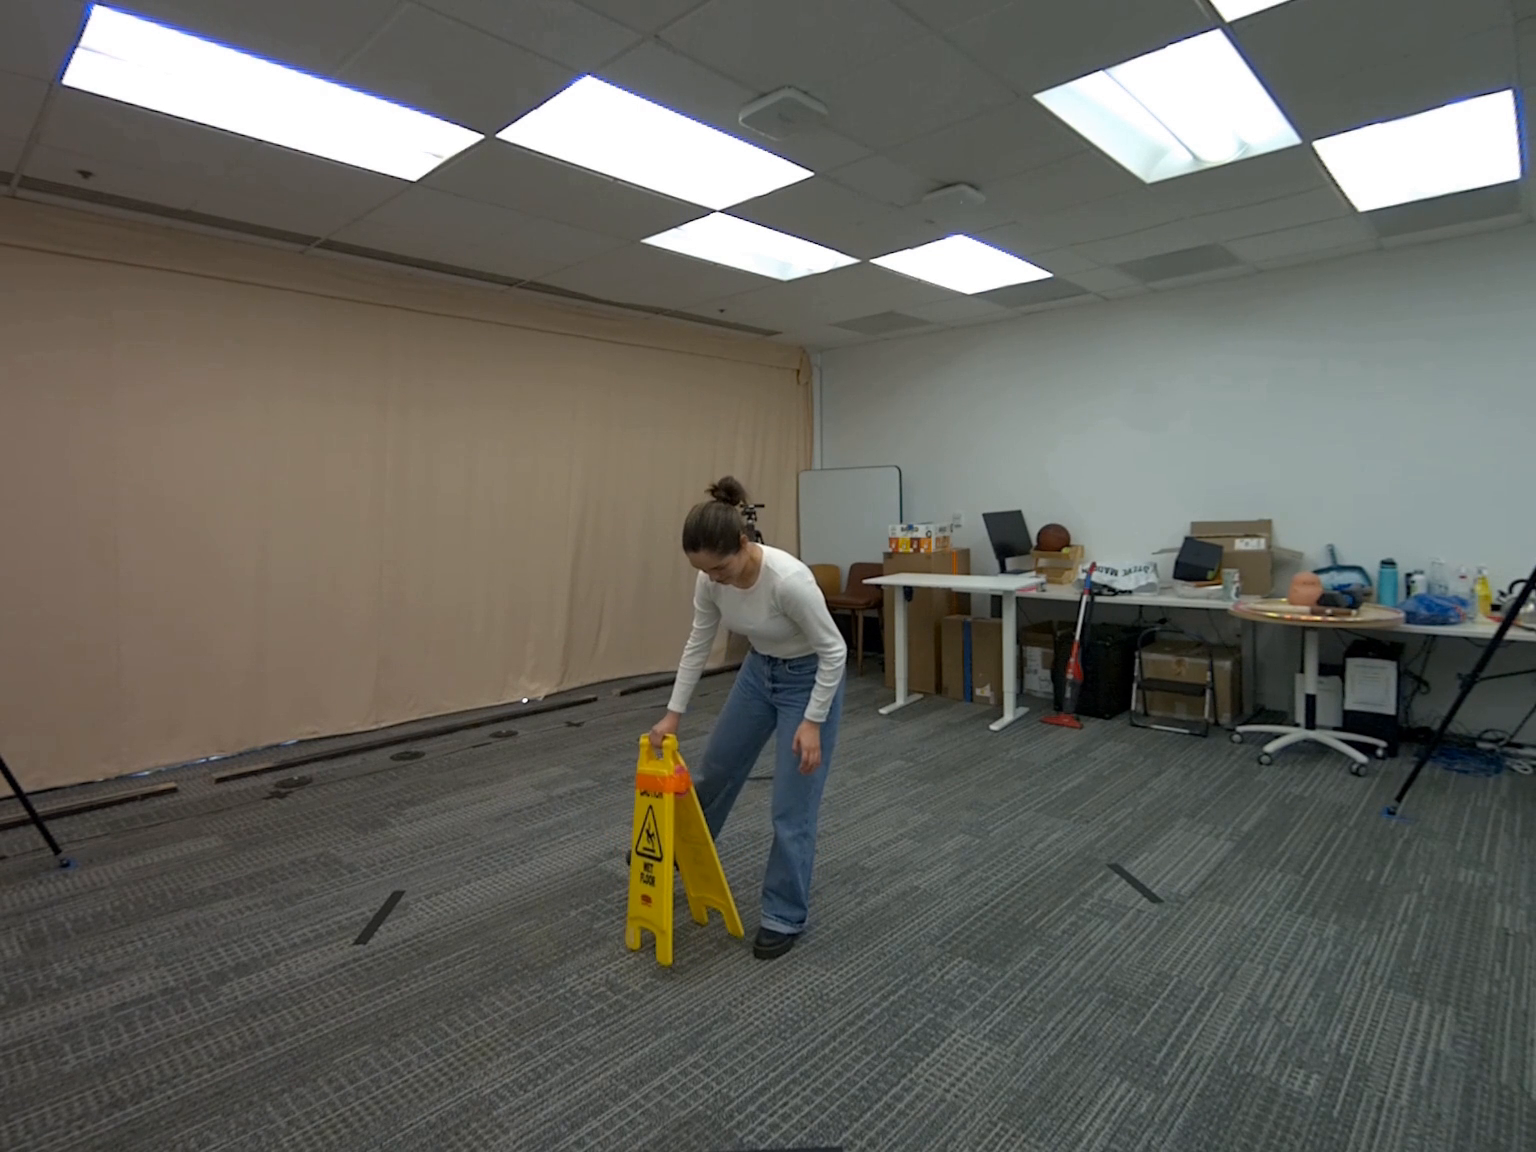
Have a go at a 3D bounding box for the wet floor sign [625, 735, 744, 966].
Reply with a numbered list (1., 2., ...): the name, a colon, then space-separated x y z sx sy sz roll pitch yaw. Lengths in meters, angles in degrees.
1. wet floor sign: -0.306 0.834 2.682 0.281 0.649 0.289 -3 -7 -38
